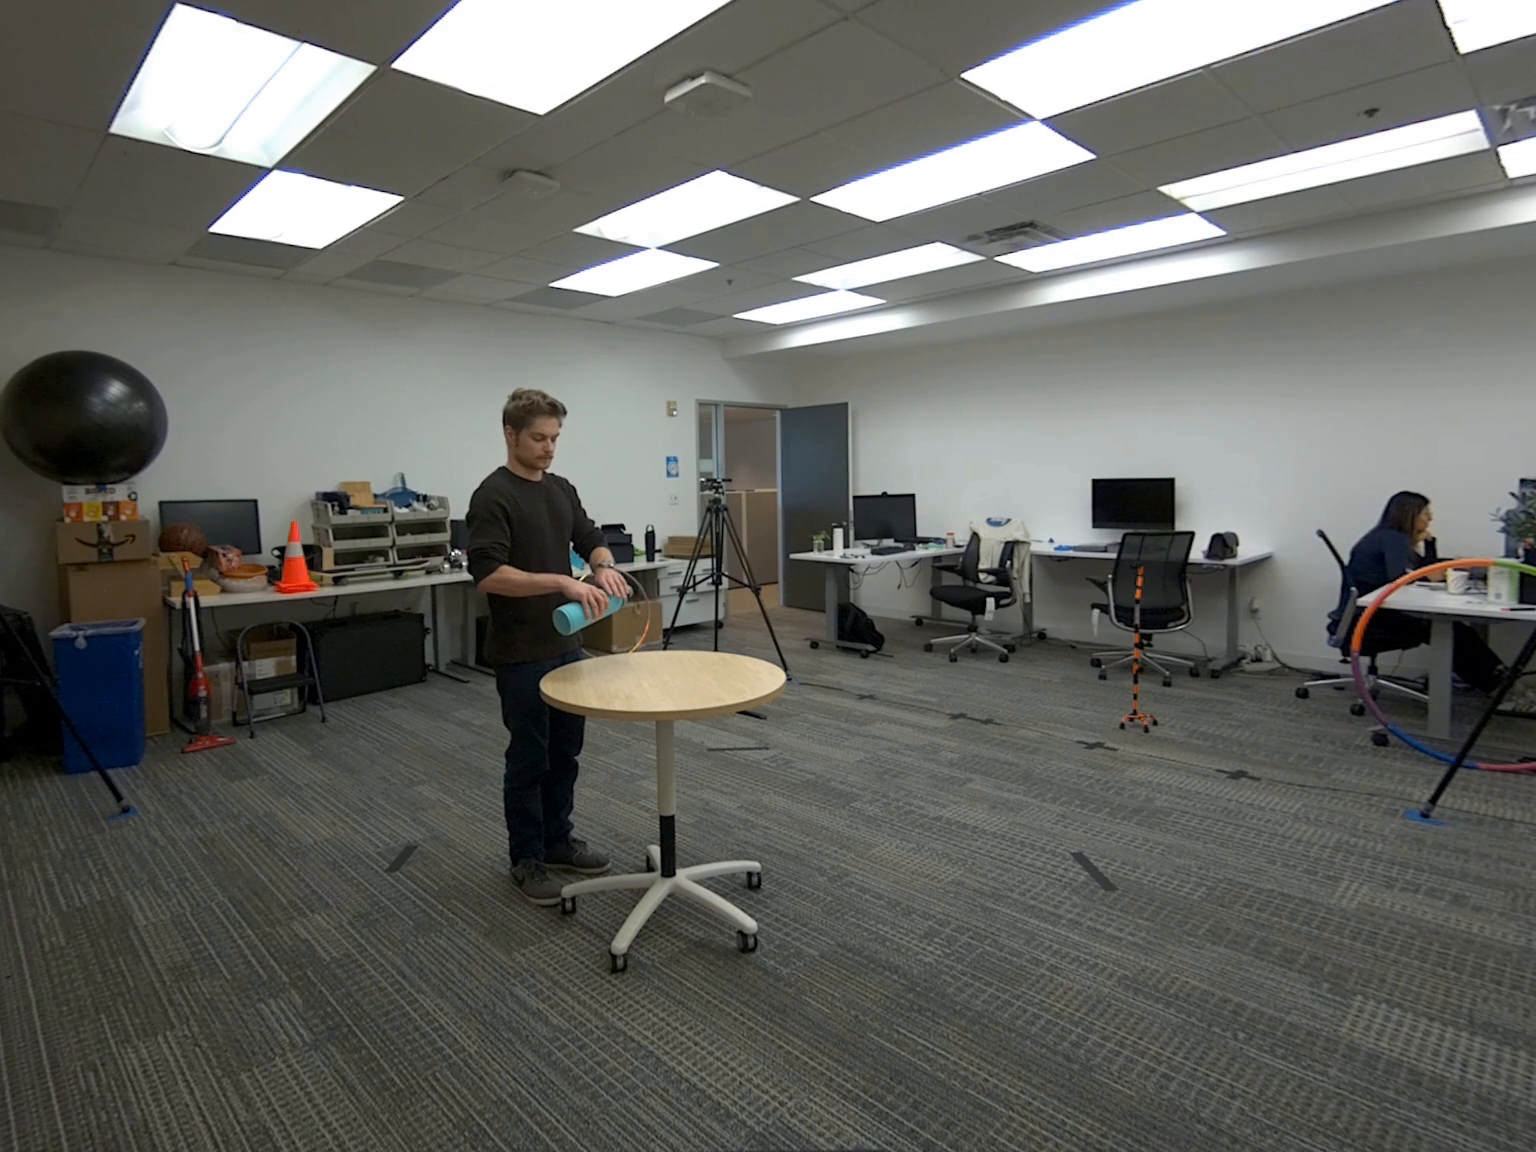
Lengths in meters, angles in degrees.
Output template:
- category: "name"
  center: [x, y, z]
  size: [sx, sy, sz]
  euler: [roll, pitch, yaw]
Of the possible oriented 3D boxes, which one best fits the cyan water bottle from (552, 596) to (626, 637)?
- category: "cyan water bottle"
  center: [-0.565, 0.101, 2.739]
  size: [0.095, 0.091, 0.279]
  euler: [2, 20, 36]
